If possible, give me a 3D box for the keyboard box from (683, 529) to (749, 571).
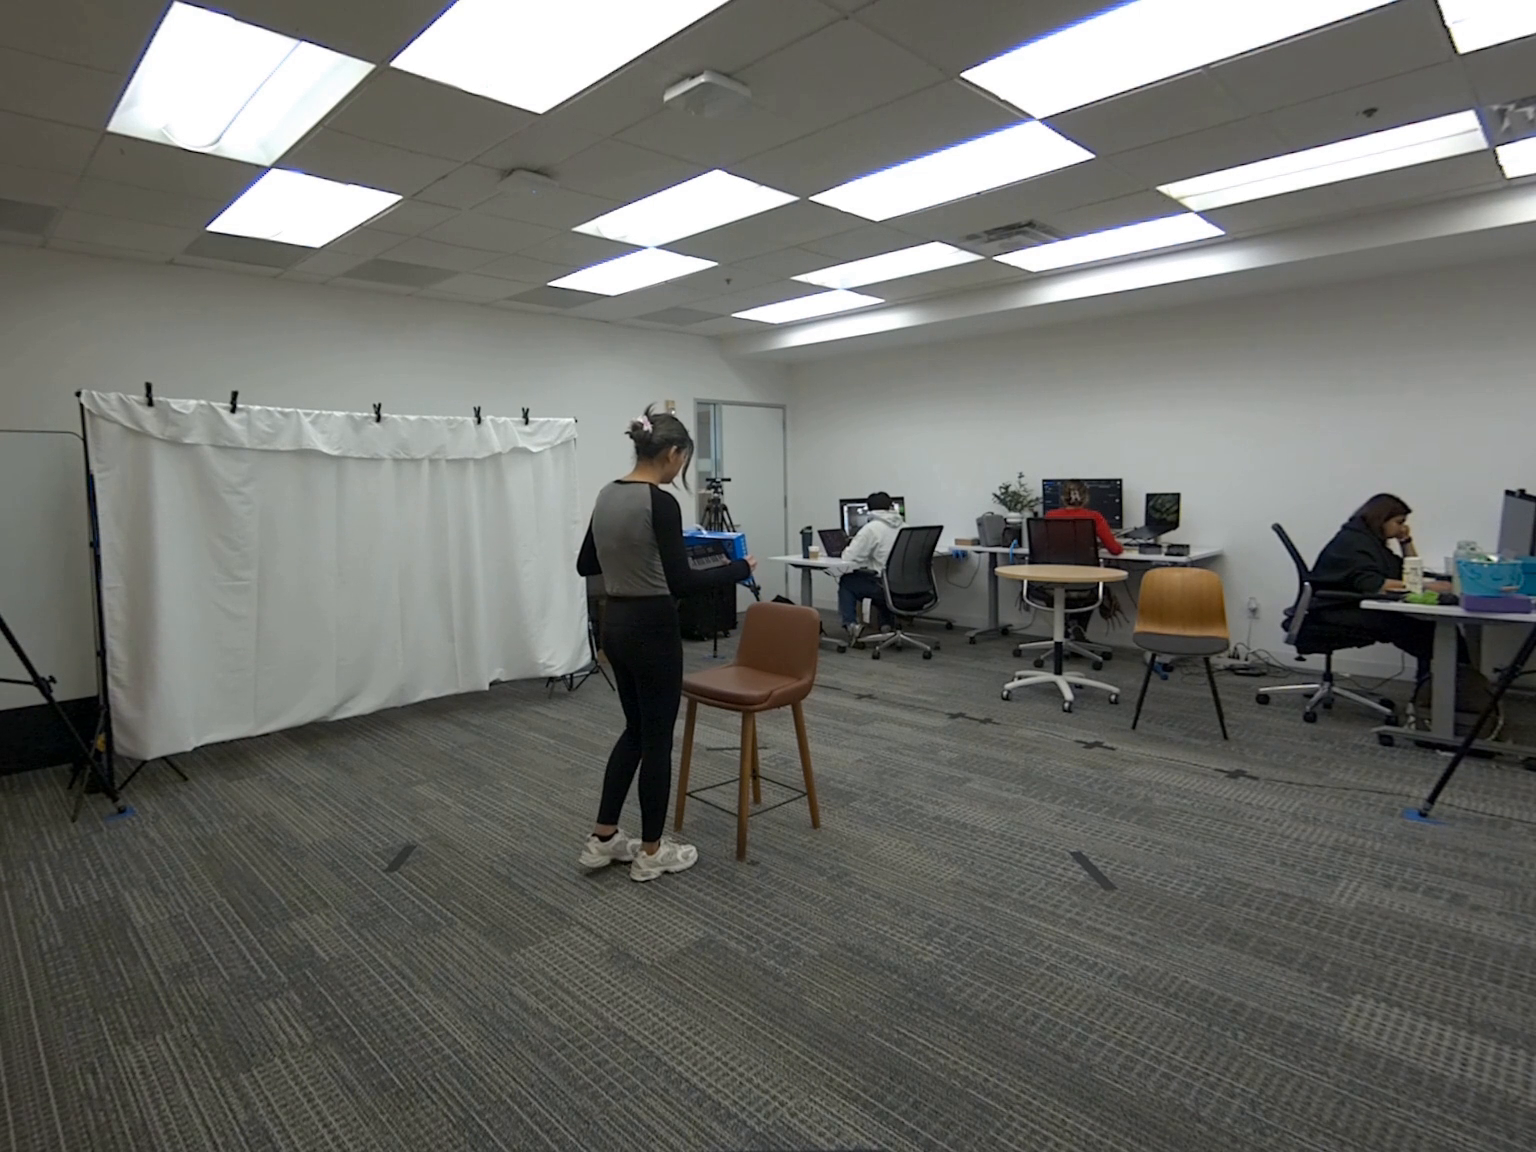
[{"bbox_3d":[-0.251,-0.074,3.144,0.450,0.173,0.058,5,19,44],"label":"keyboard box"}]
